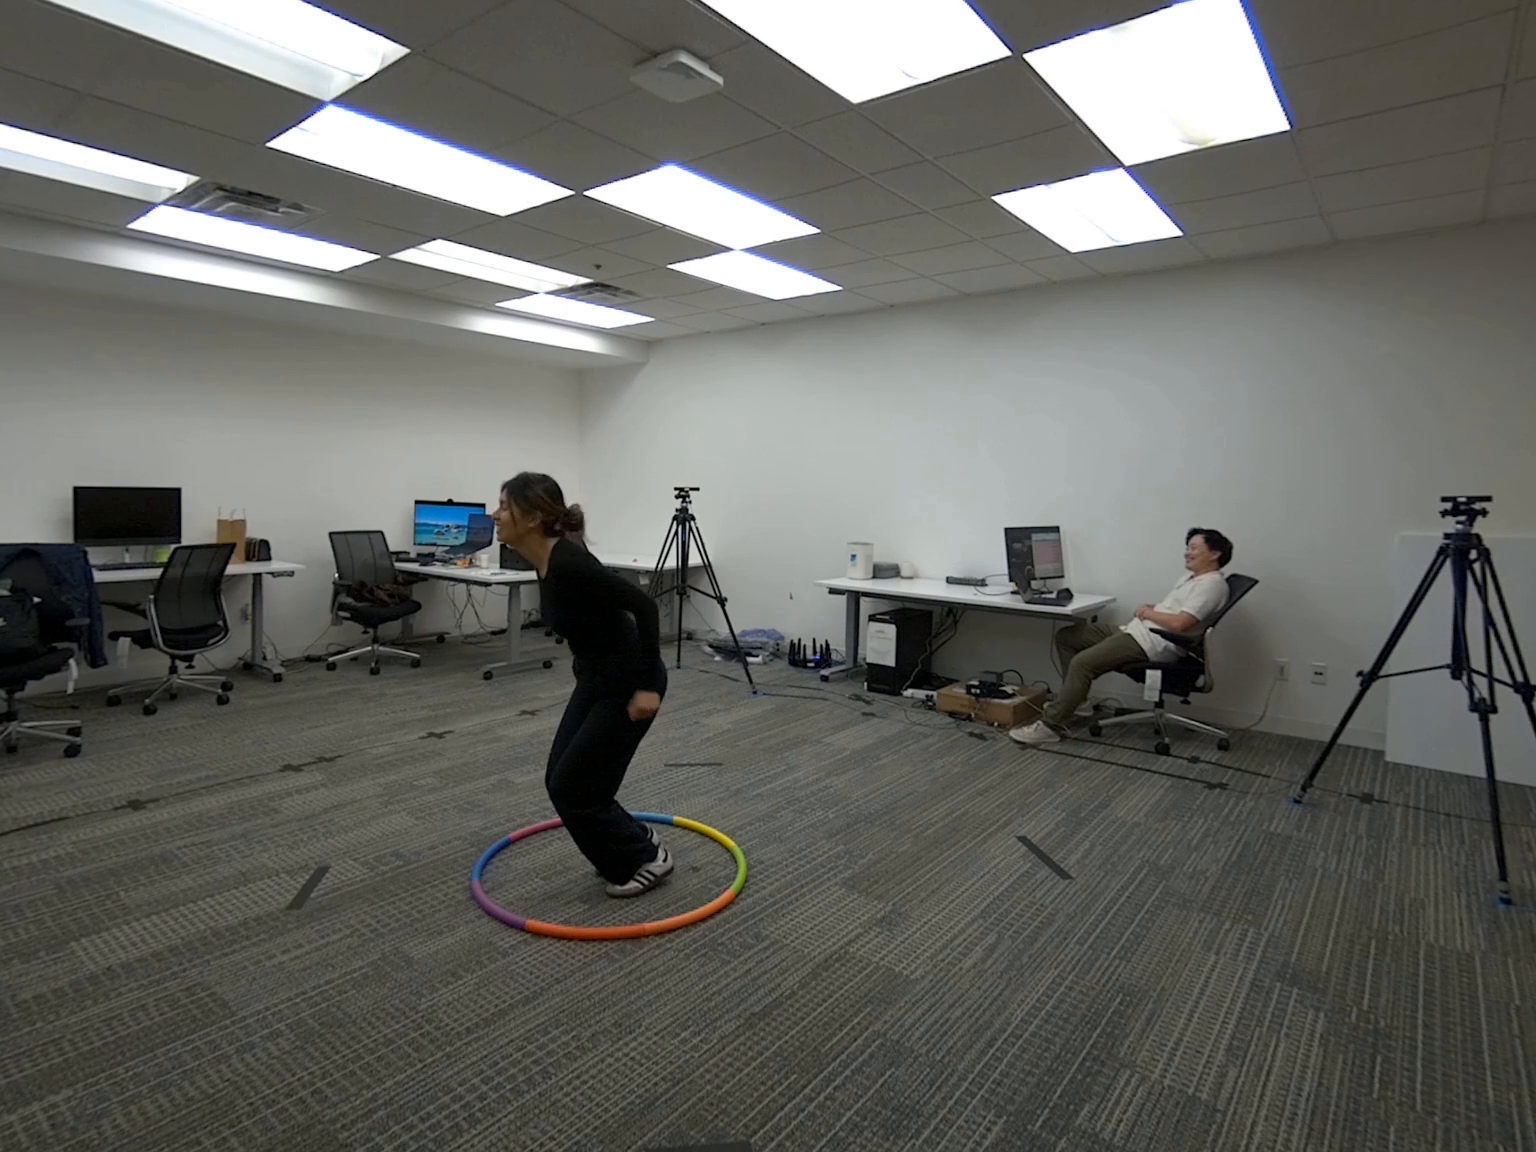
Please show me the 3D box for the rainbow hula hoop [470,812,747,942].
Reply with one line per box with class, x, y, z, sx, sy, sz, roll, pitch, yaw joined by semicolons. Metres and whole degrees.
rainbow hula hoop;-0.573;1.036;3.081;0.978;0.035;0.984;0;6;-2
